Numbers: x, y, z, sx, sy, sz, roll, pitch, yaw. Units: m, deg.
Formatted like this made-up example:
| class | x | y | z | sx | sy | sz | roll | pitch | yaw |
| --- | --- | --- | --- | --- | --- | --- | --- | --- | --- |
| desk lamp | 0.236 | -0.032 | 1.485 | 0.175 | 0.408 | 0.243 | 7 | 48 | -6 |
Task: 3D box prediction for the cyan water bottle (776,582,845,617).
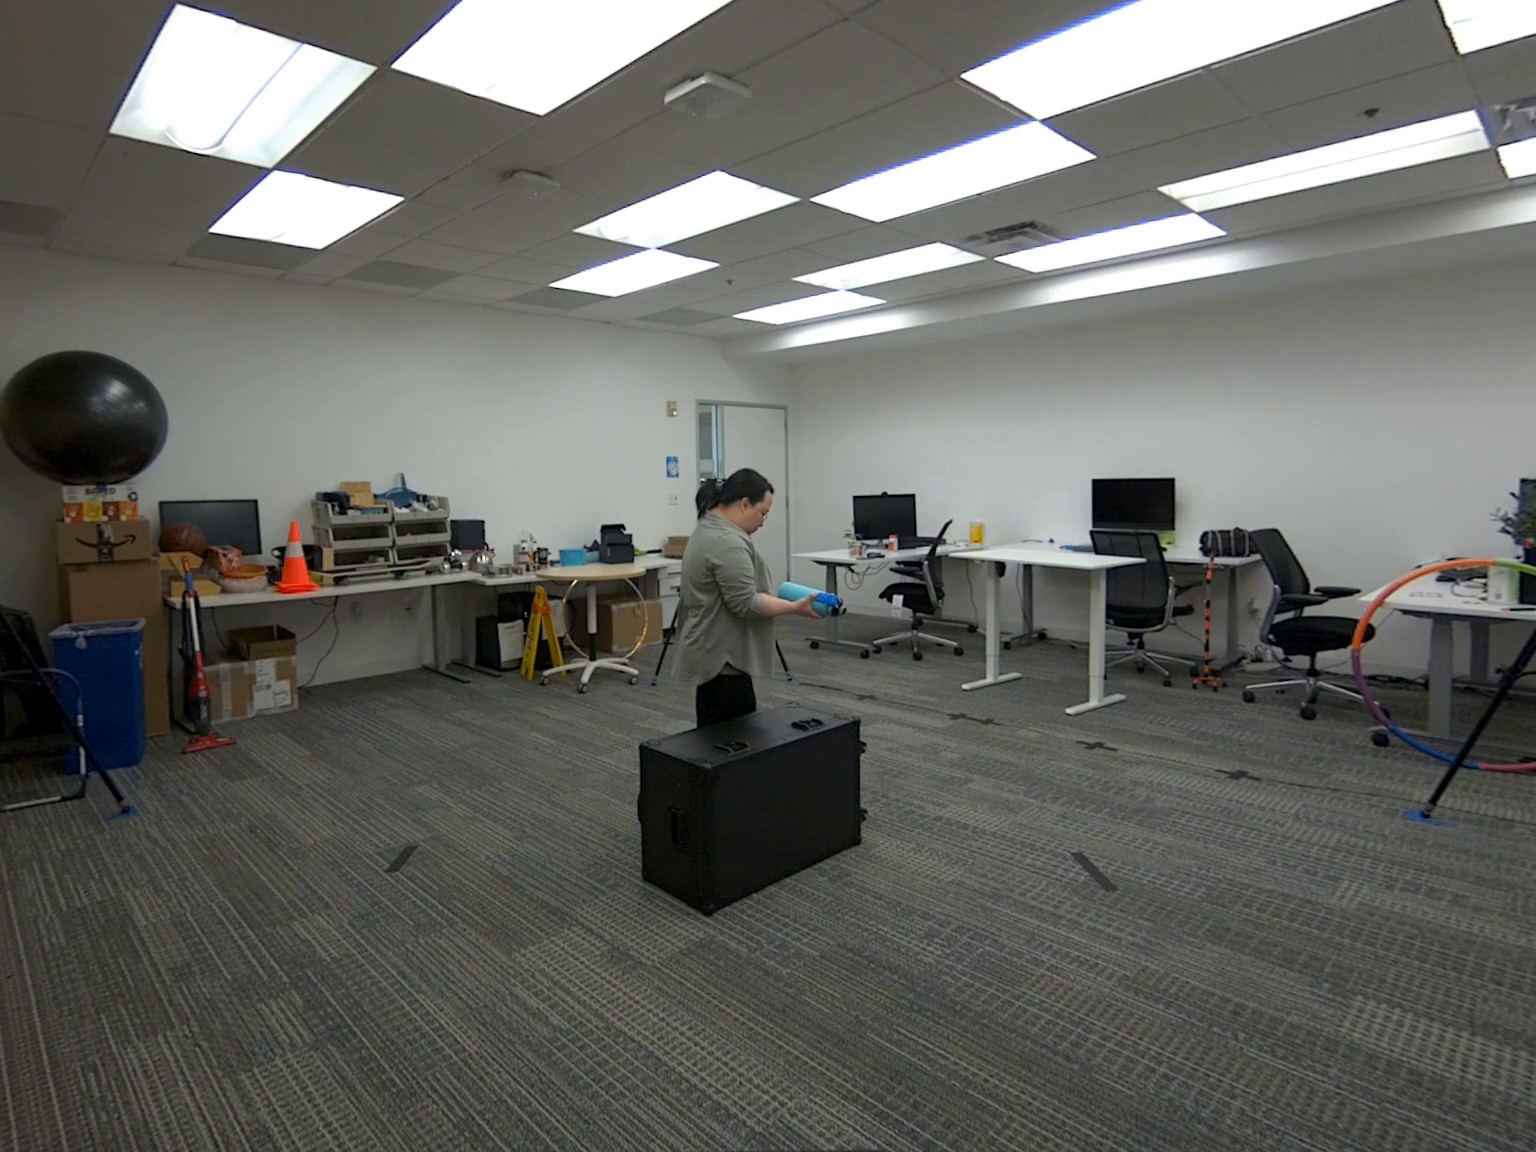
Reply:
| class | x | y | z | sx | sy | sz | roll | pitch | yaw |
| --- | --- | --- | --- | --- | --- | --- | --- | --- | --- |
| cyan water bottle | 0.177 | 0.094 | 3.354 | 0.293 | 0.091 | 0.090 | 15 | 14 | 37 |
